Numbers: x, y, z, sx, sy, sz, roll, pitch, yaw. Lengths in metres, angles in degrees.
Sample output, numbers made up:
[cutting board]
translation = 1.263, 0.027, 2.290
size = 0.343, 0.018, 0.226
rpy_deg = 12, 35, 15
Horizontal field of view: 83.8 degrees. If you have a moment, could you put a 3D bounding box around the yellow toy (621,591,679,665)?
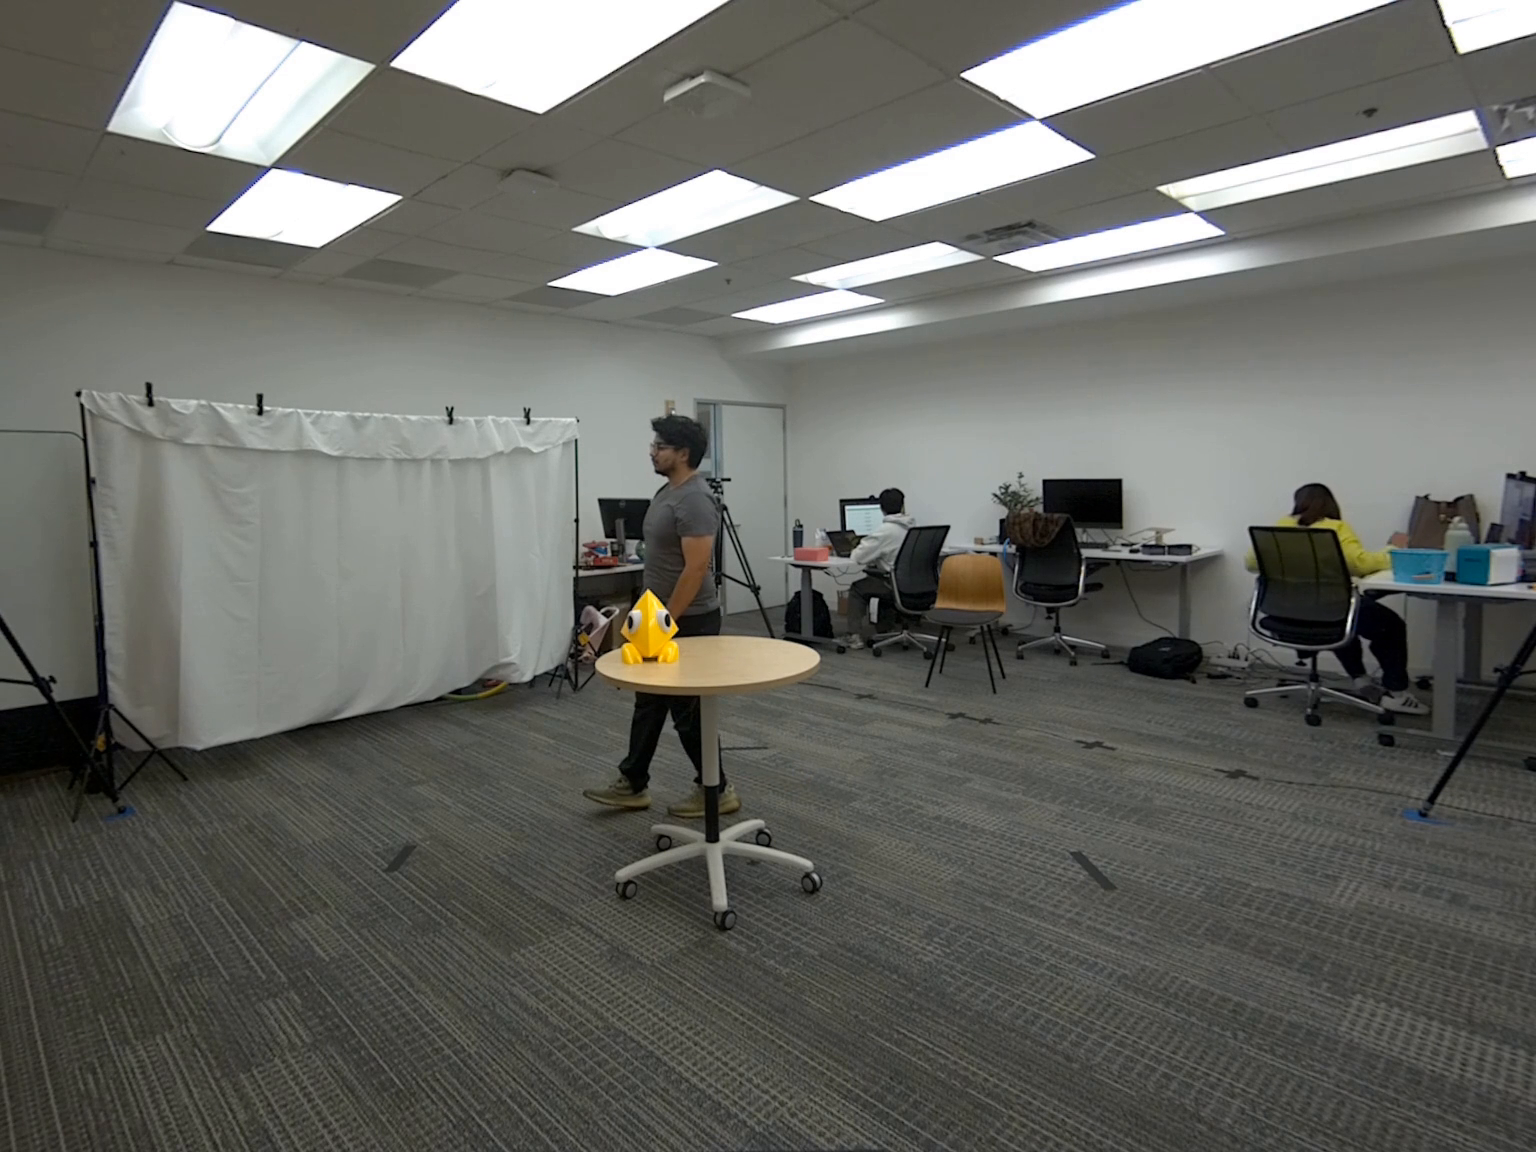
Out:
[yellow toy]
translation = -0.407, 0.173, 2.950
size = 0.204, 0.229, 0.195
rpy_deg = -2, 5, -6
